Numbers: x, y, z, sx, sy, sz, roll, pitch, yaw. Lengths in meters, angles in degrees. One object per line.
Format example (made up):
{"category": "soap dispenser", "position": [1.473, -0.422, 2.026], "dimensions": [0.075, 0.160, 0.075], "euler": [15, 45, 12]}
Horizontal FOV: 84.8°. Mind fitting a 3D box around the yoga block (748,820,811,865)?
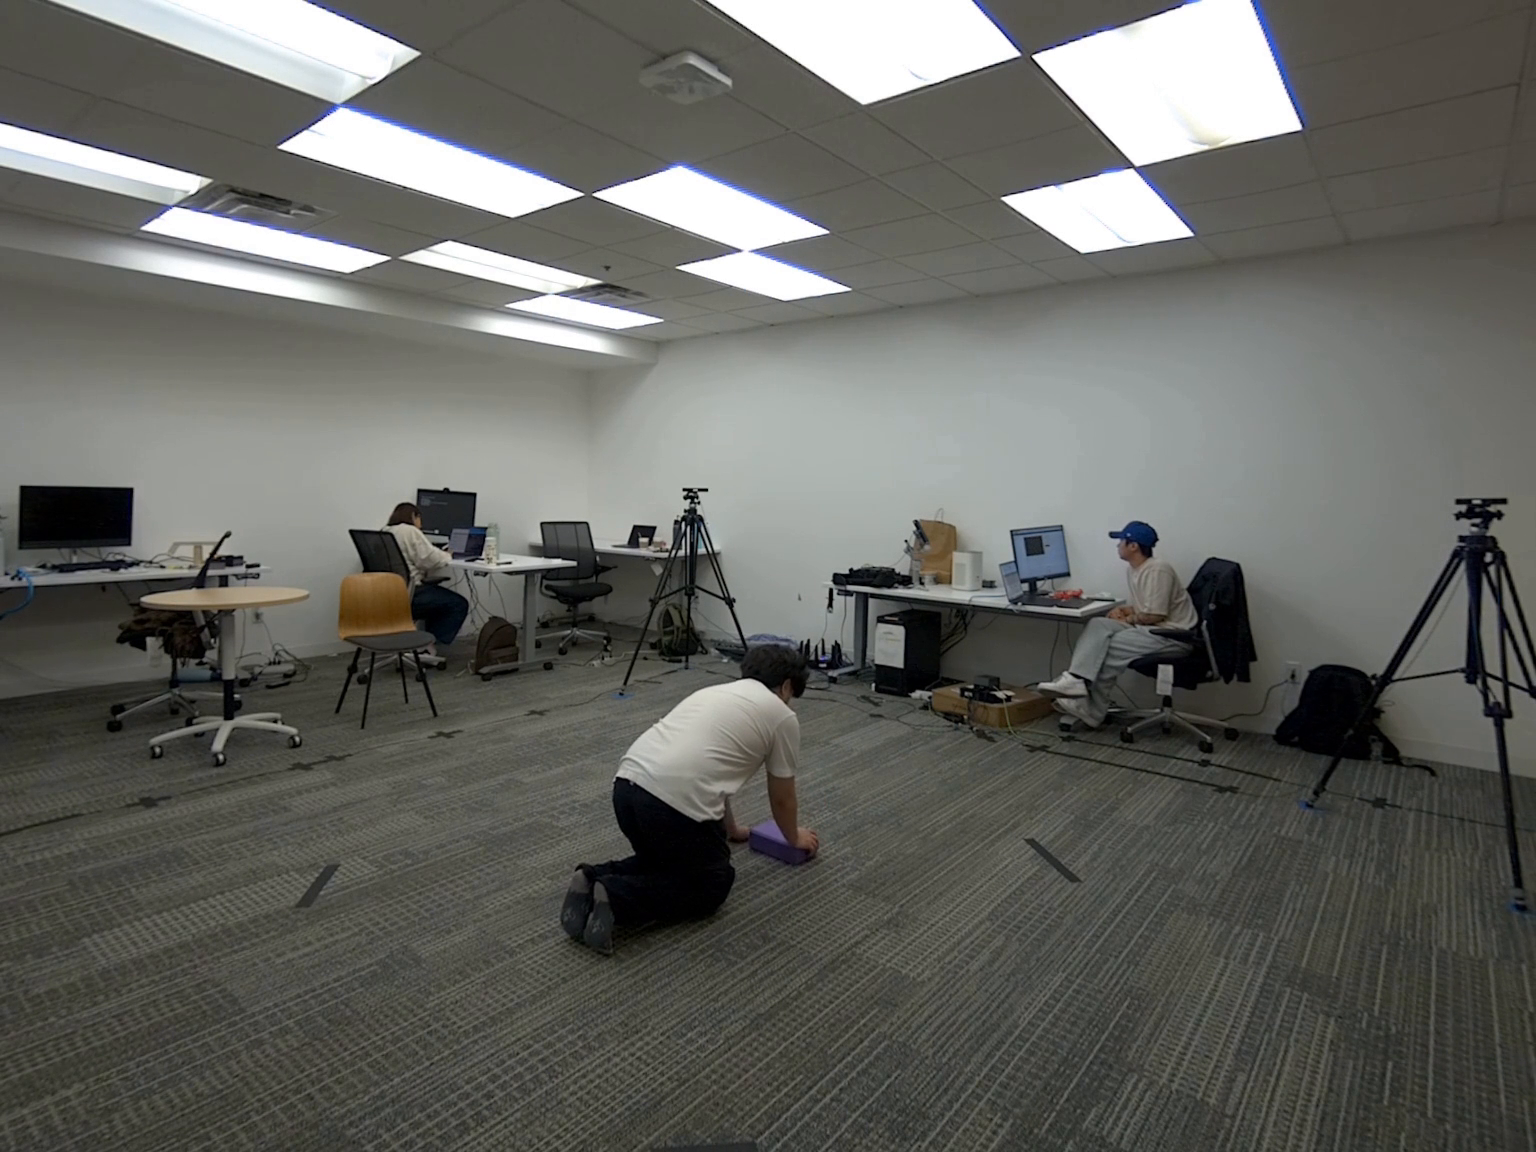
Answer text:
{"category": "yoga block", "position": [0.047, 1.018, 3.276], "dimensions": [0.237, 0.076, 0.144], "euler": [8, 8, 39]}
